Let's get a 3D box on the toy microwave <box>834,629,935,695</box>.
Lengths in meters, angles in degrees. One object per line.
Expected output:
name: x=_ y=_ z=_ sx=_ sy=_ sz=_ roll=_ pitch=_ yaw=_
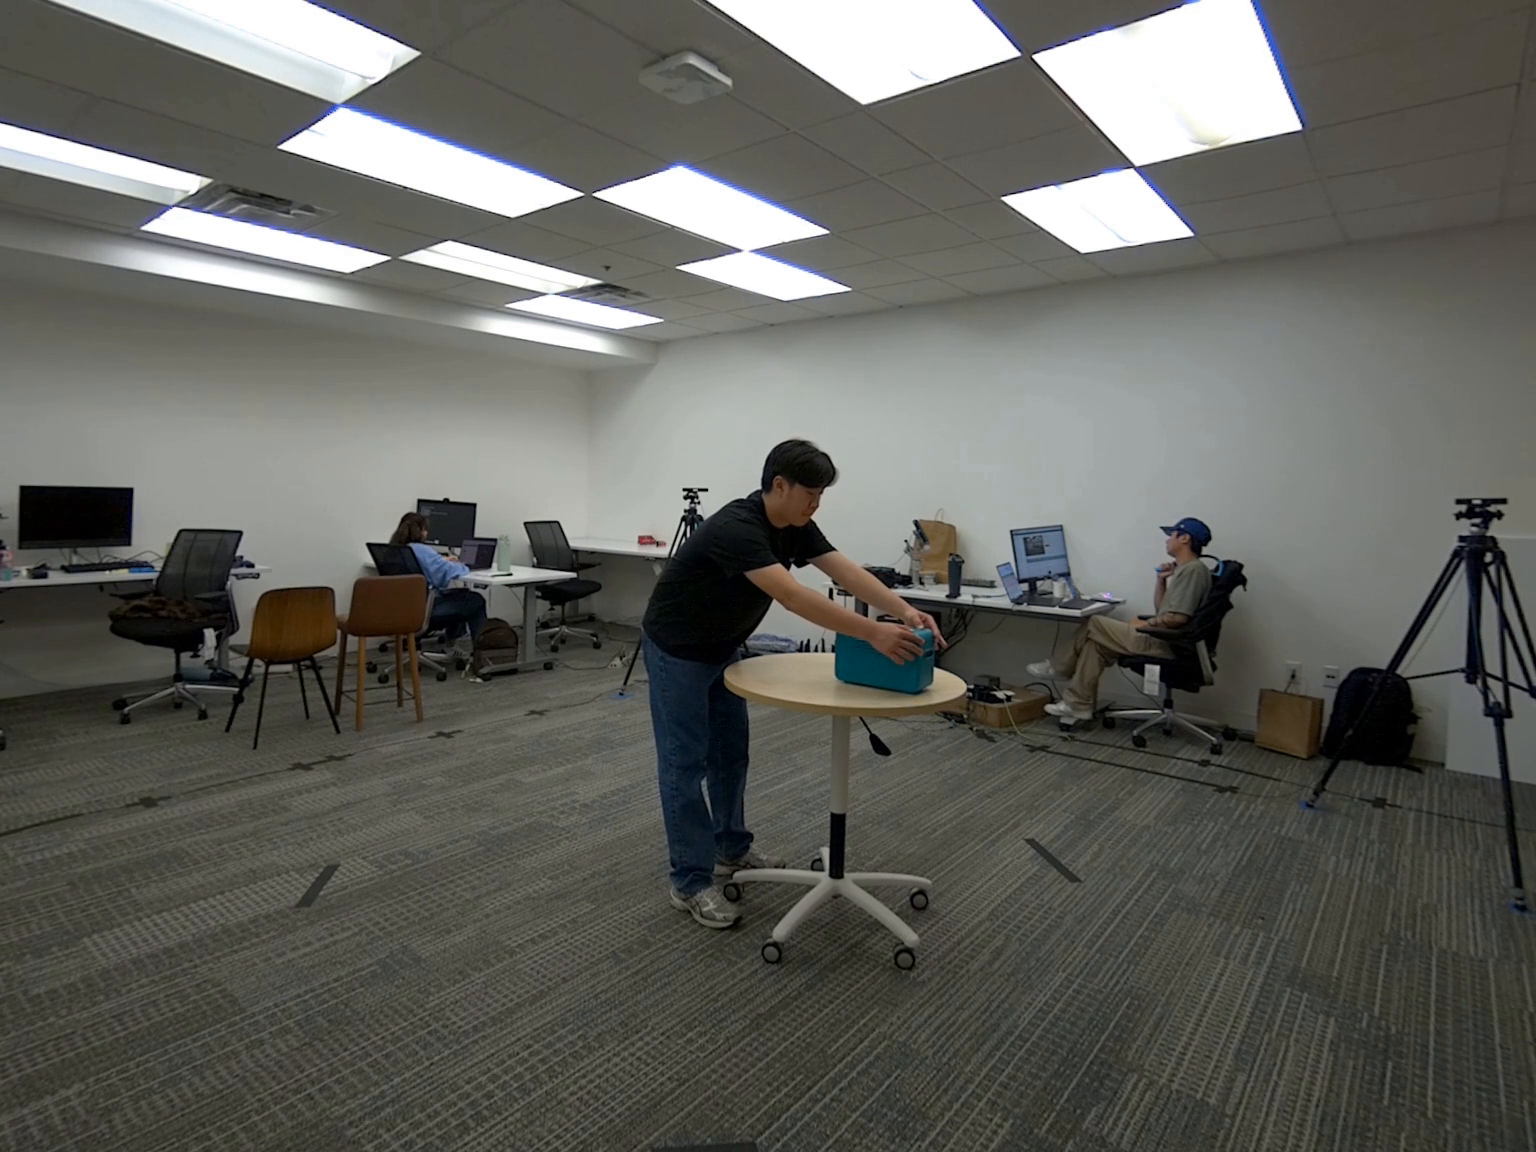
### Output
toy microwave: x=0.357 y=0.243 z=2.623 sx=0.295 sy=0.183 sz=0.148 roll=4 pitch=5 yaw=35
